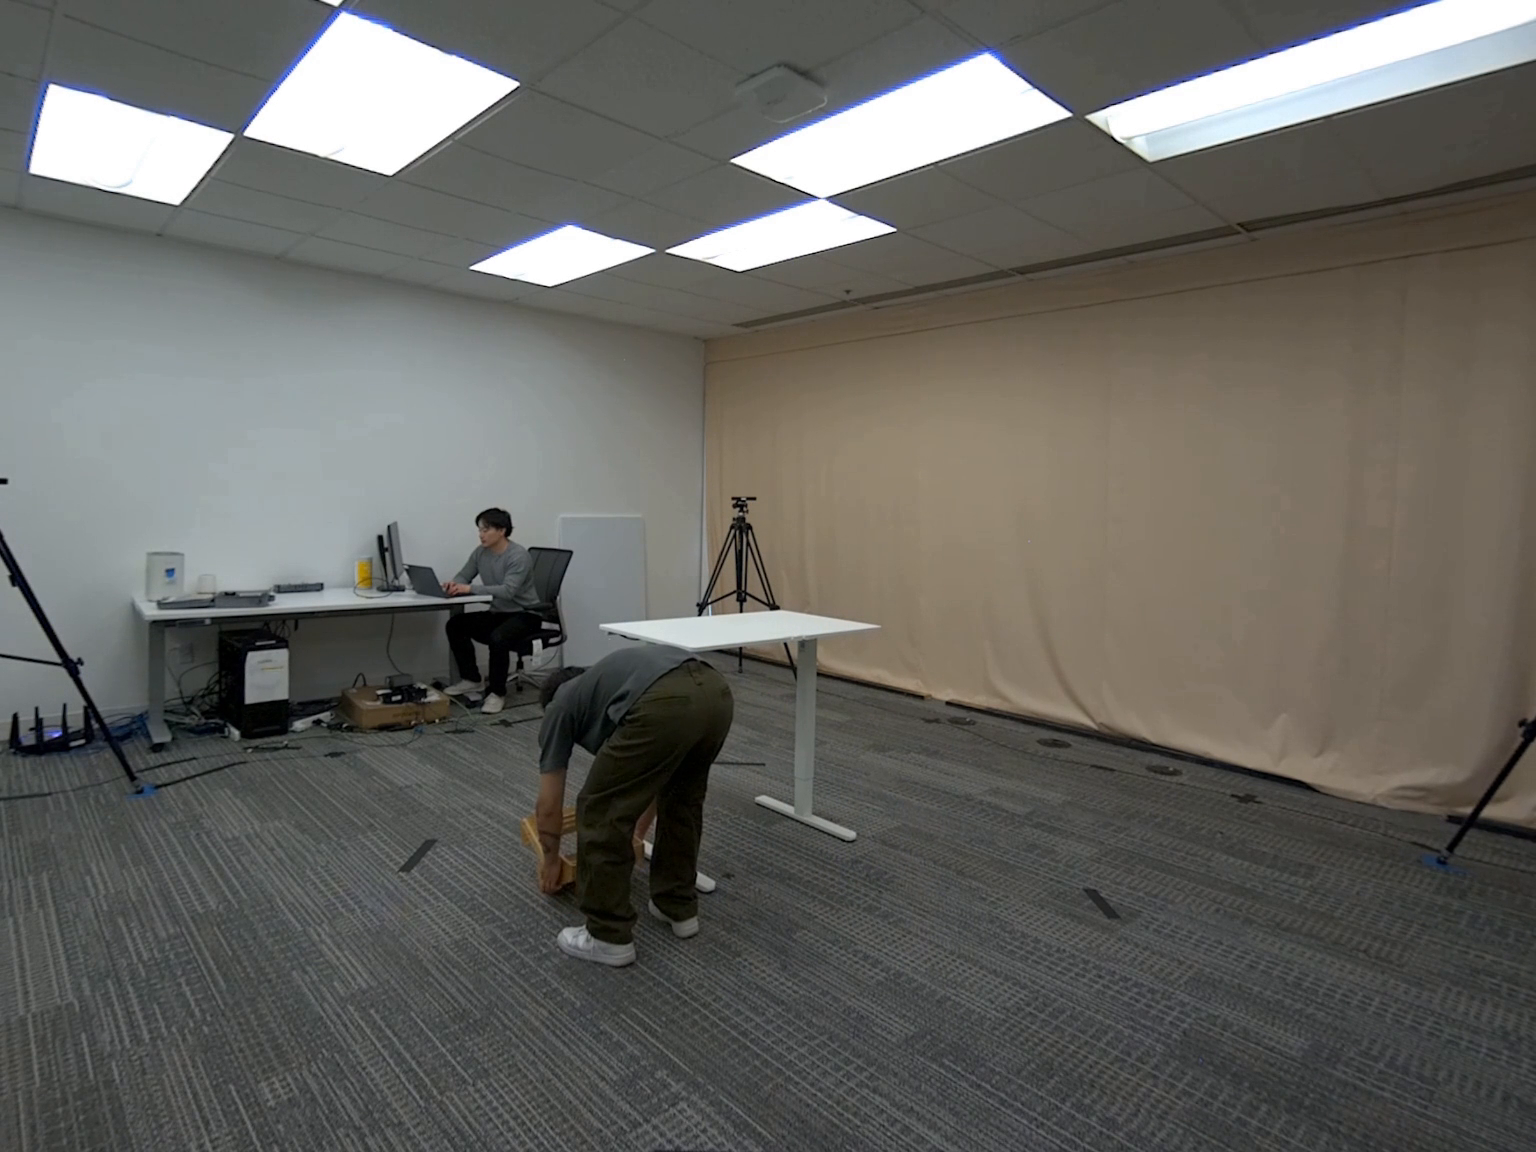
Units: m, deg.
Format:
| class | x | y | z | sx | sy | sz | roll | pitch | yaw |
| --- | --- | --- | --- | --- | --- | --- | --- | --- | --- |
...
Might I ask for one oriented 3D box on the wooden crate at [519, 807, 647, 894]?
| class | x | y | z | sx | sy | sz | roll | pitch | yaw |
| --- | --- | --- | --- | --- | --- | --- | --- | --- | --- |
| wooden crate | -0.679 | 0.943 | 3.014 | 0.317 | 0.278 | 0.304 | -1 | -25 | -45 |
